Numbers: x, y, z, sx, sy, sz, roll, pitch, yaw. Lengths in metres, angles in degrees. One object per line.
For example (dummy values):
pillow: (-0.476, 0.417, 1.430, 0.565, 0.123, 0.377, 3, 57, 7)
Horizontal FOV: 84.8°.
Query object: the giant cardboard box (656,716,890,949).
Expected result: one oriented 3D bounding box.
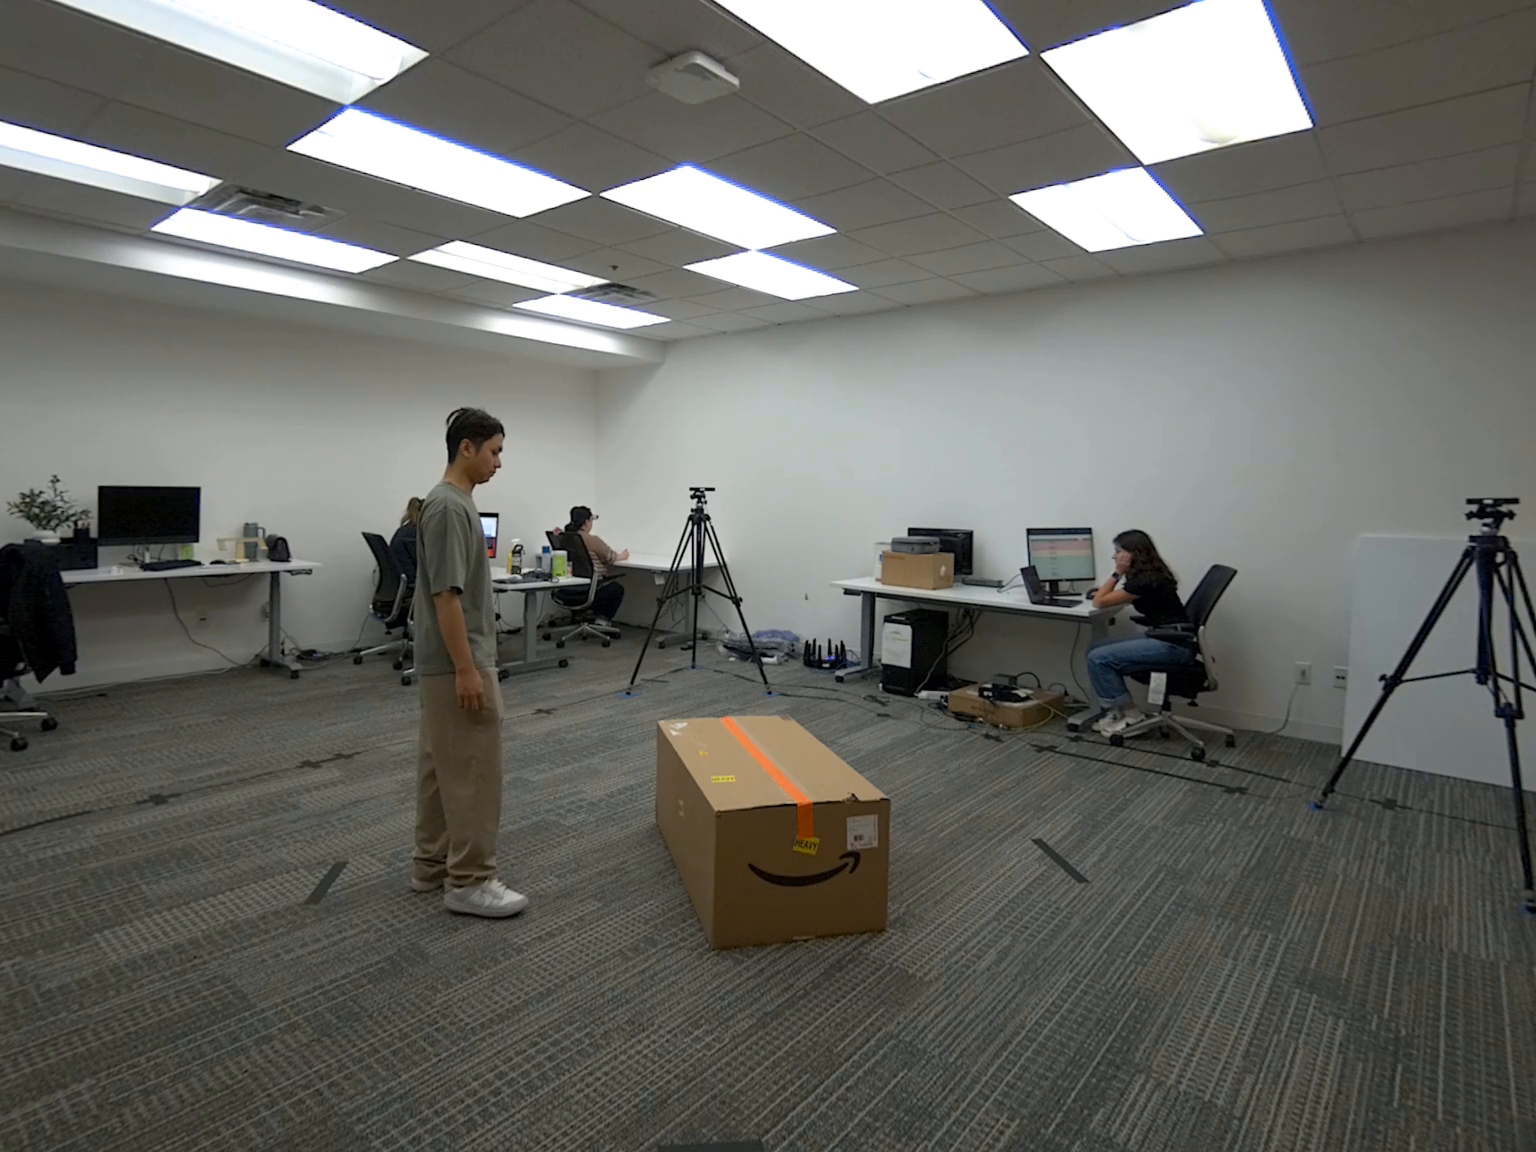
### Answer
giant cardboard box: (-0.046, 0.852, 3.101, 0.568, 0.424, 1.047, -1, 6, -17)
